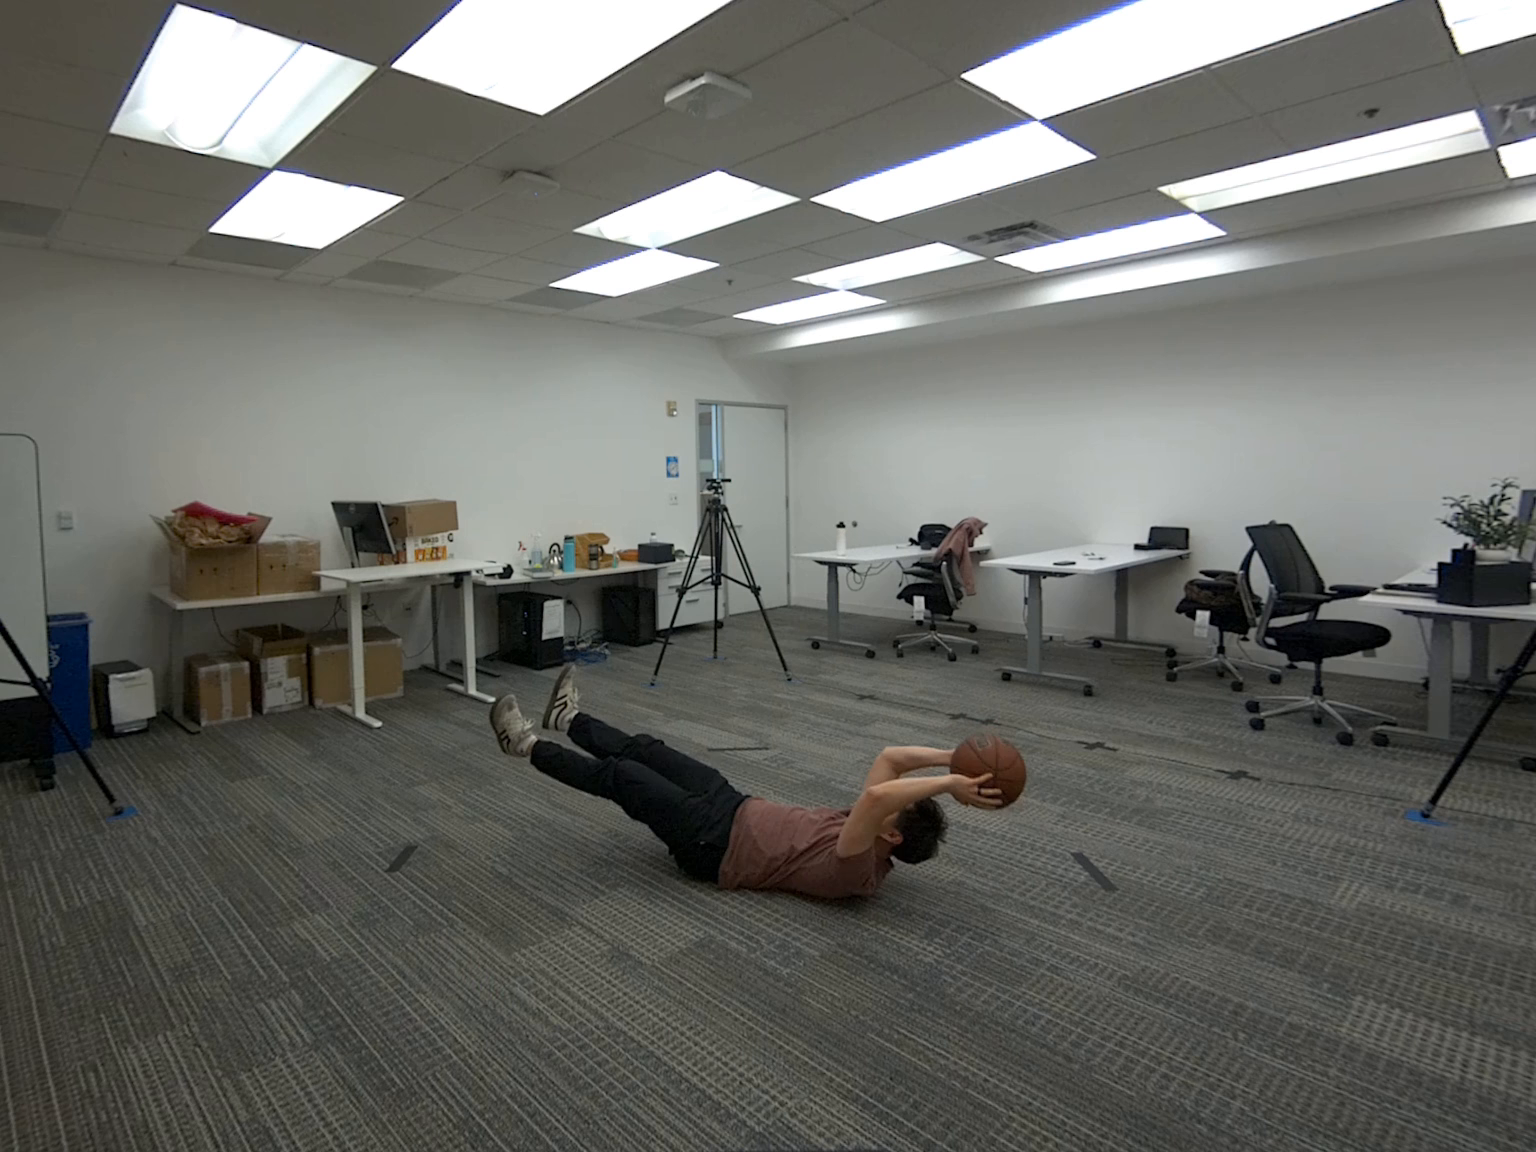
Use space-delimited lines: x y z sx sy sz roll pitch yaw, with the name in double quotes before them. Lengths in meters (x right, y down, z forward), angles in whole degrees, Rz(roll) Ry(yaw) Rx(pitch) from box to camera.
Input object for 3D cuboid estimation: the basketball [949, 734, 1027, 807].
"basketball" 0.703 0.624 2.753 0.236 0.236 0.236 0 1 -2
